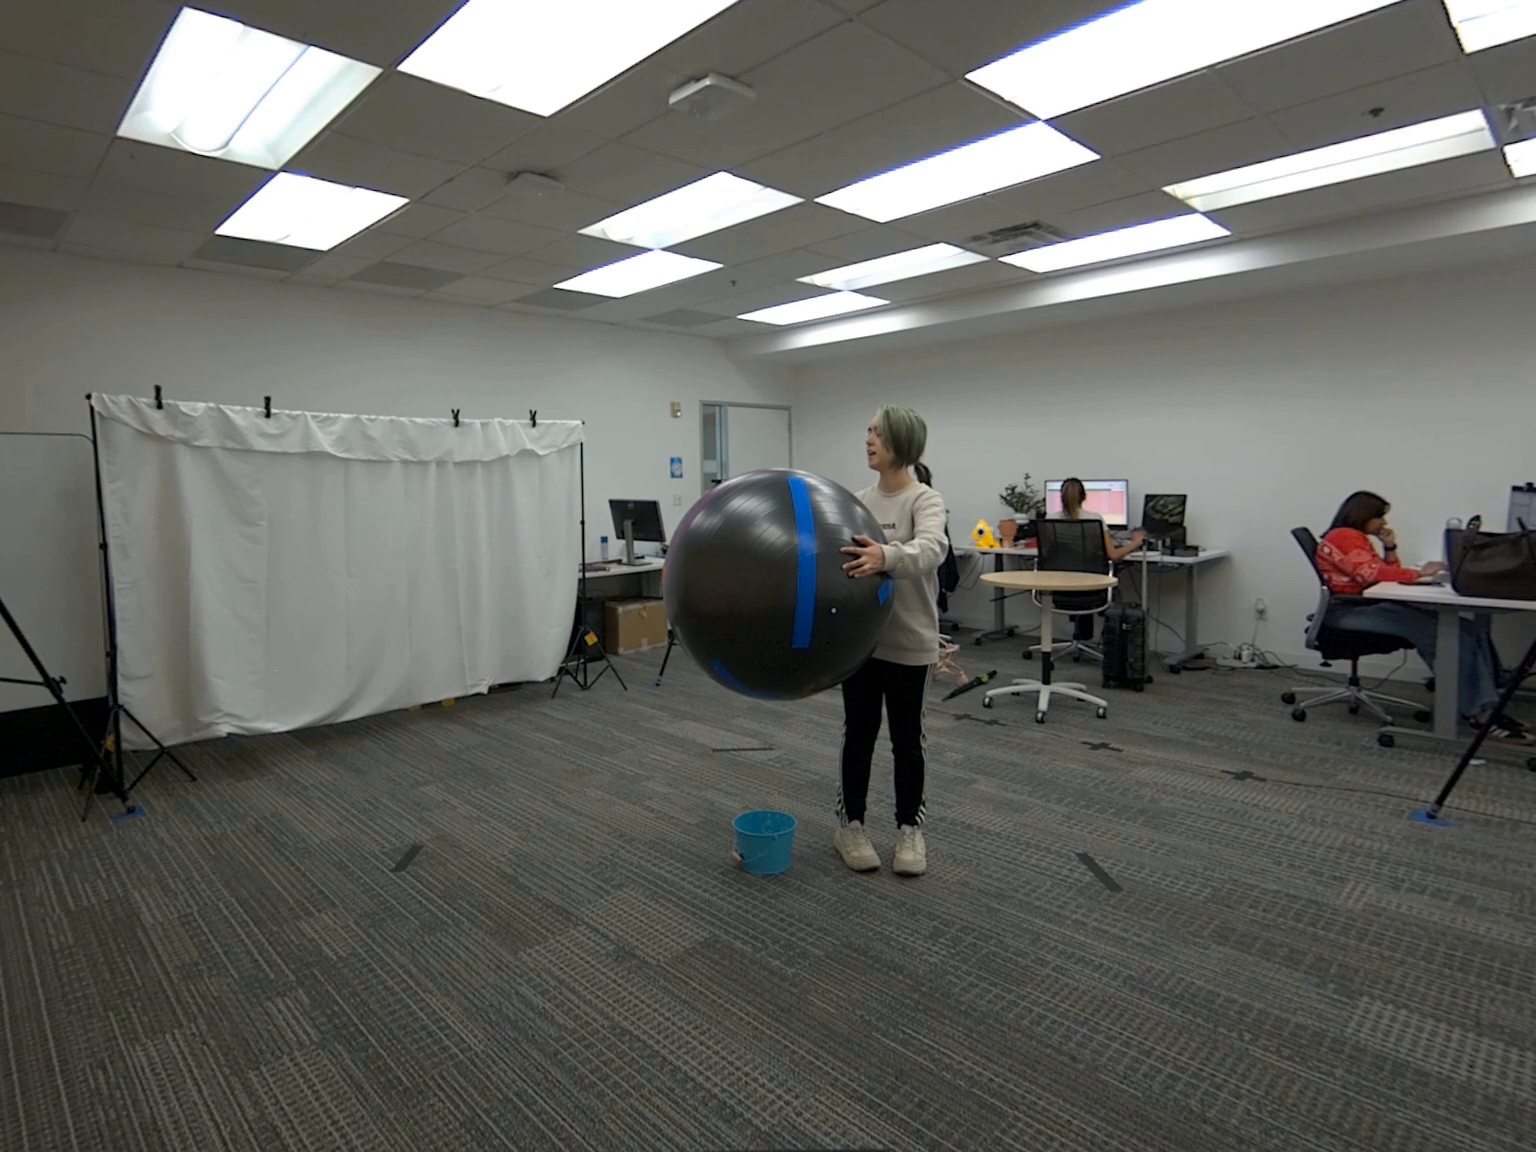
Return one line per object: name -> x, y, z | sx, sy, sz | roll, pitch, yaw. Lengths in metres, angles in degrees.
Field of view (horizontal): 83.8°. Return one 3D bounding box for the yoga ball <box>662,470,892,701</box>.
yoga ball -> 0.032, 0.031, 2.804 | 0.757, 0.755, 0.762 | -1, 5, -2
